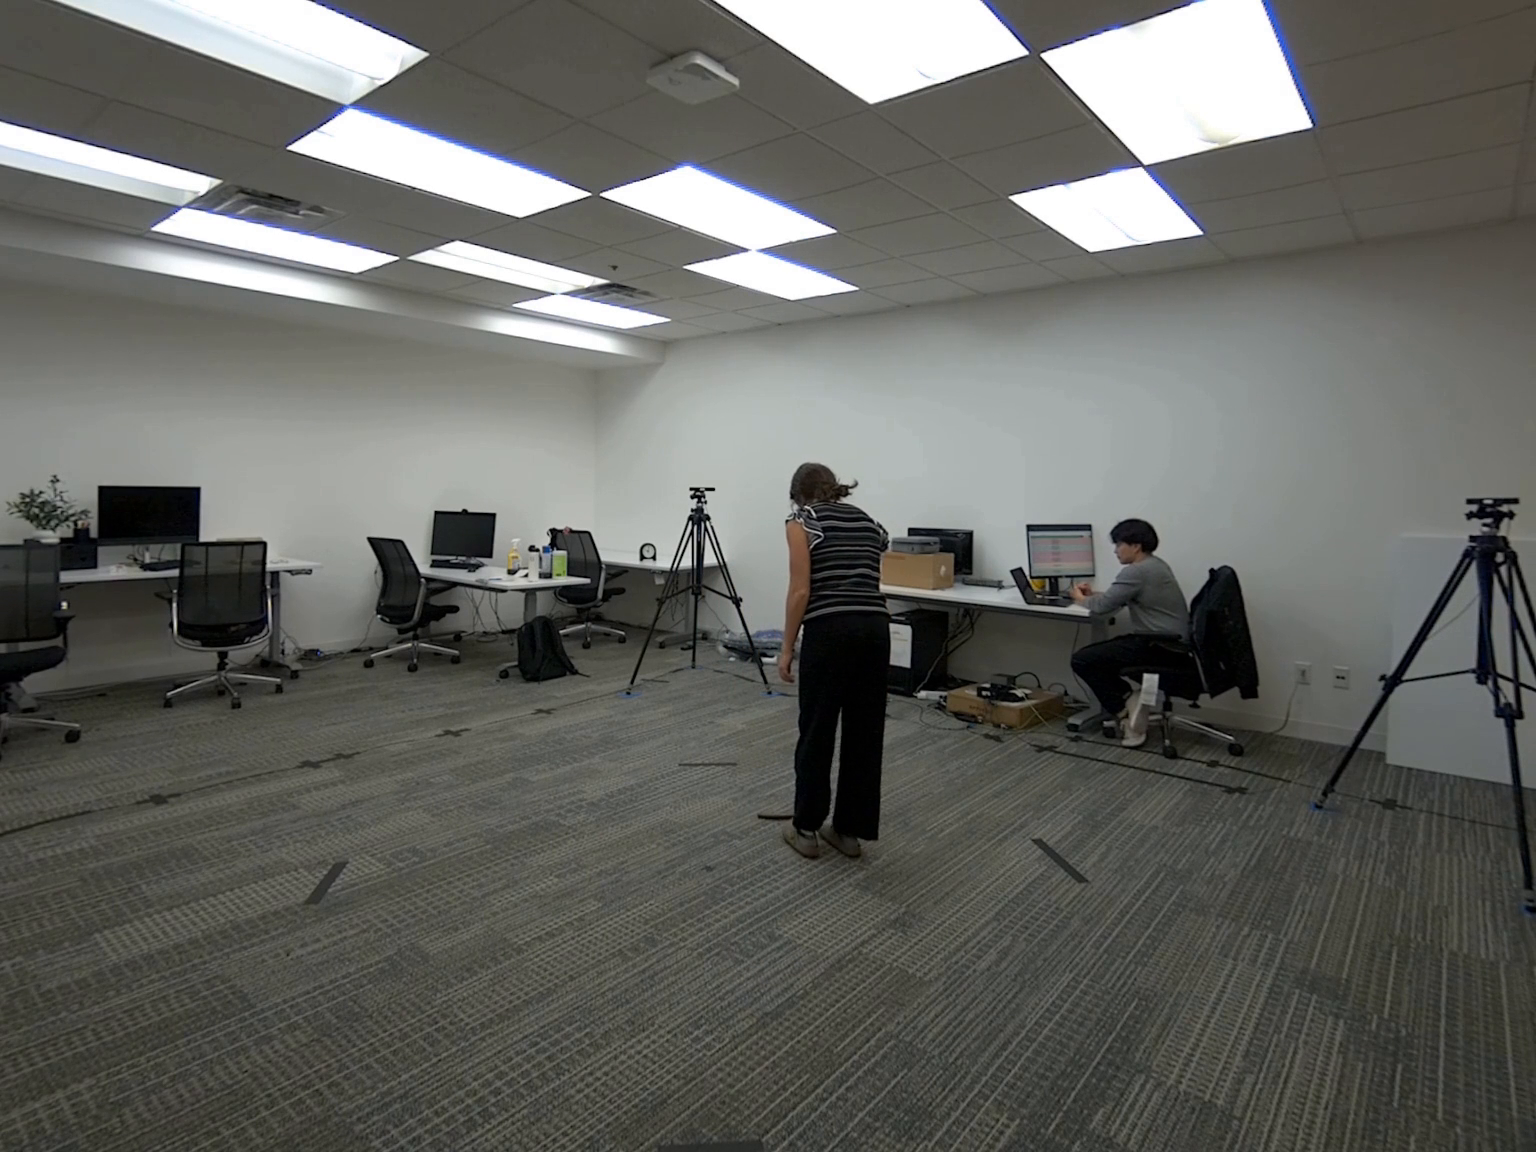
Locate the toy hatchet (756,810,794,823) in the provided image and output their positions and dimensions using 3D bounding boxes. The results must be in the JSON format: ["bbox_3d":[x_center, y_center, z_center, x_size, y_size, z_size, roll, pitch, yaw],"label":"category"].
[{"bbox_3d":[0.086,1.009,3.637,0.272,0.029,0.131,1,7,7],"label":"toy hatchet"}]
